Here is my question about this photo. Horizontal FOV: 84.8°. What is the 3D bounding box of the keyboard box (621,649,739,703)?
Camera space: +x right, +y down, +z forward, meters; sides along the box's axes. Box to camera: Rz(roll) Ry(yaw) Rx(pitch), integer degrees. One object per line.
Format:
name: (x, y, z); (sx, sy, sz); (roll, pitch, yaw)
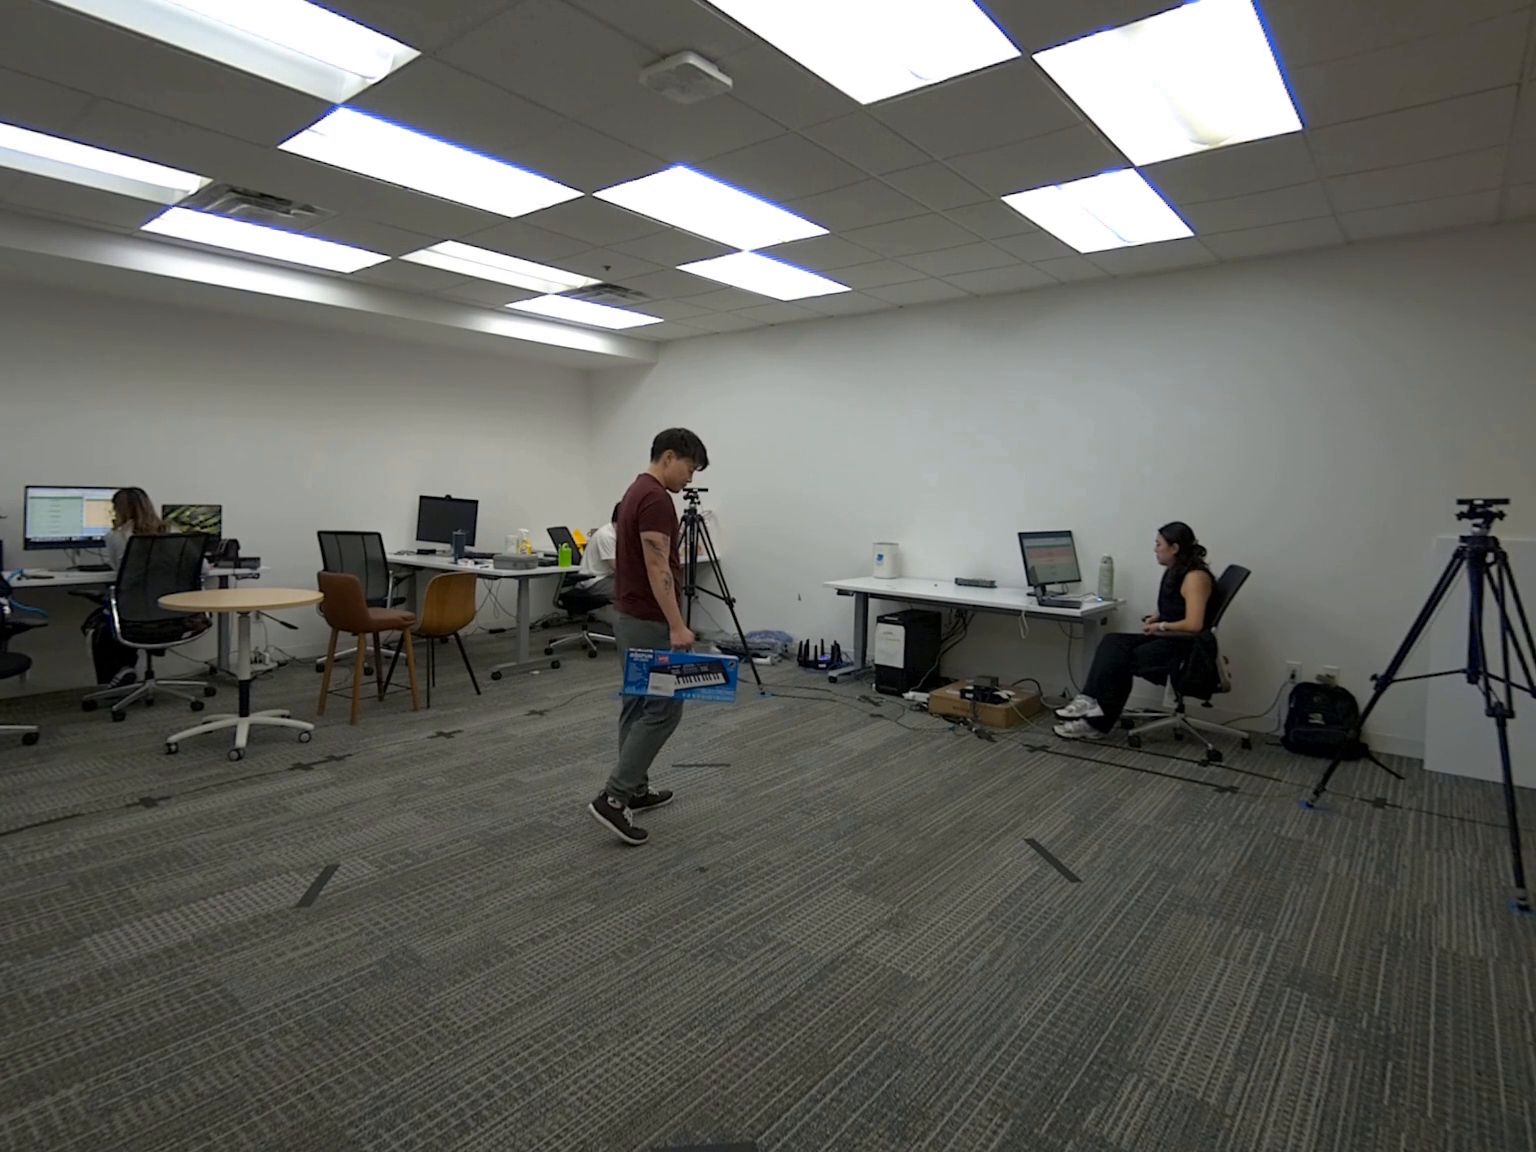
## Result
keyboard box: (-0.352, 0.384, 3.311); (0.433, 0.176, 0.059); (4, 1, -7)
